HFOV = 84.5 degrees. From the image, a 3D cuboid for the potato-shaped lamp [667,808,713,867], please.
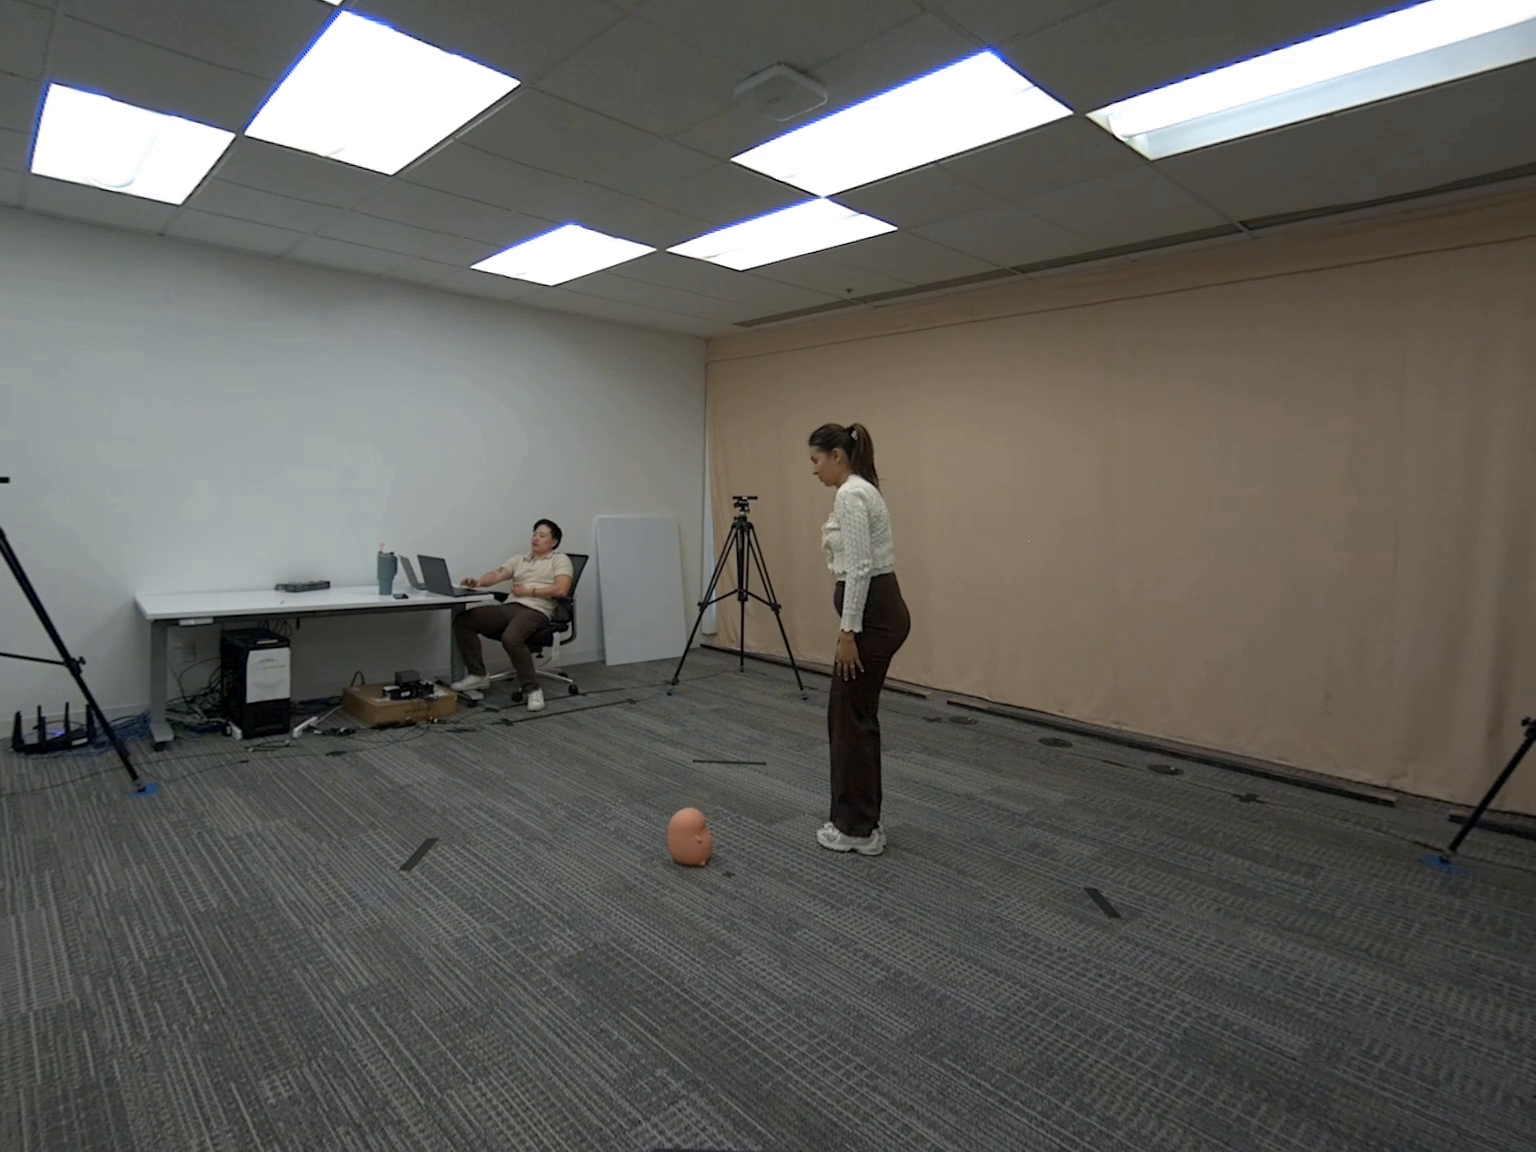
[{"bbox_3d":[-0.302,0.990,3.214,0.173,0.197,0.164,2,5,10],"label":"potato-shaped lamp"}]
